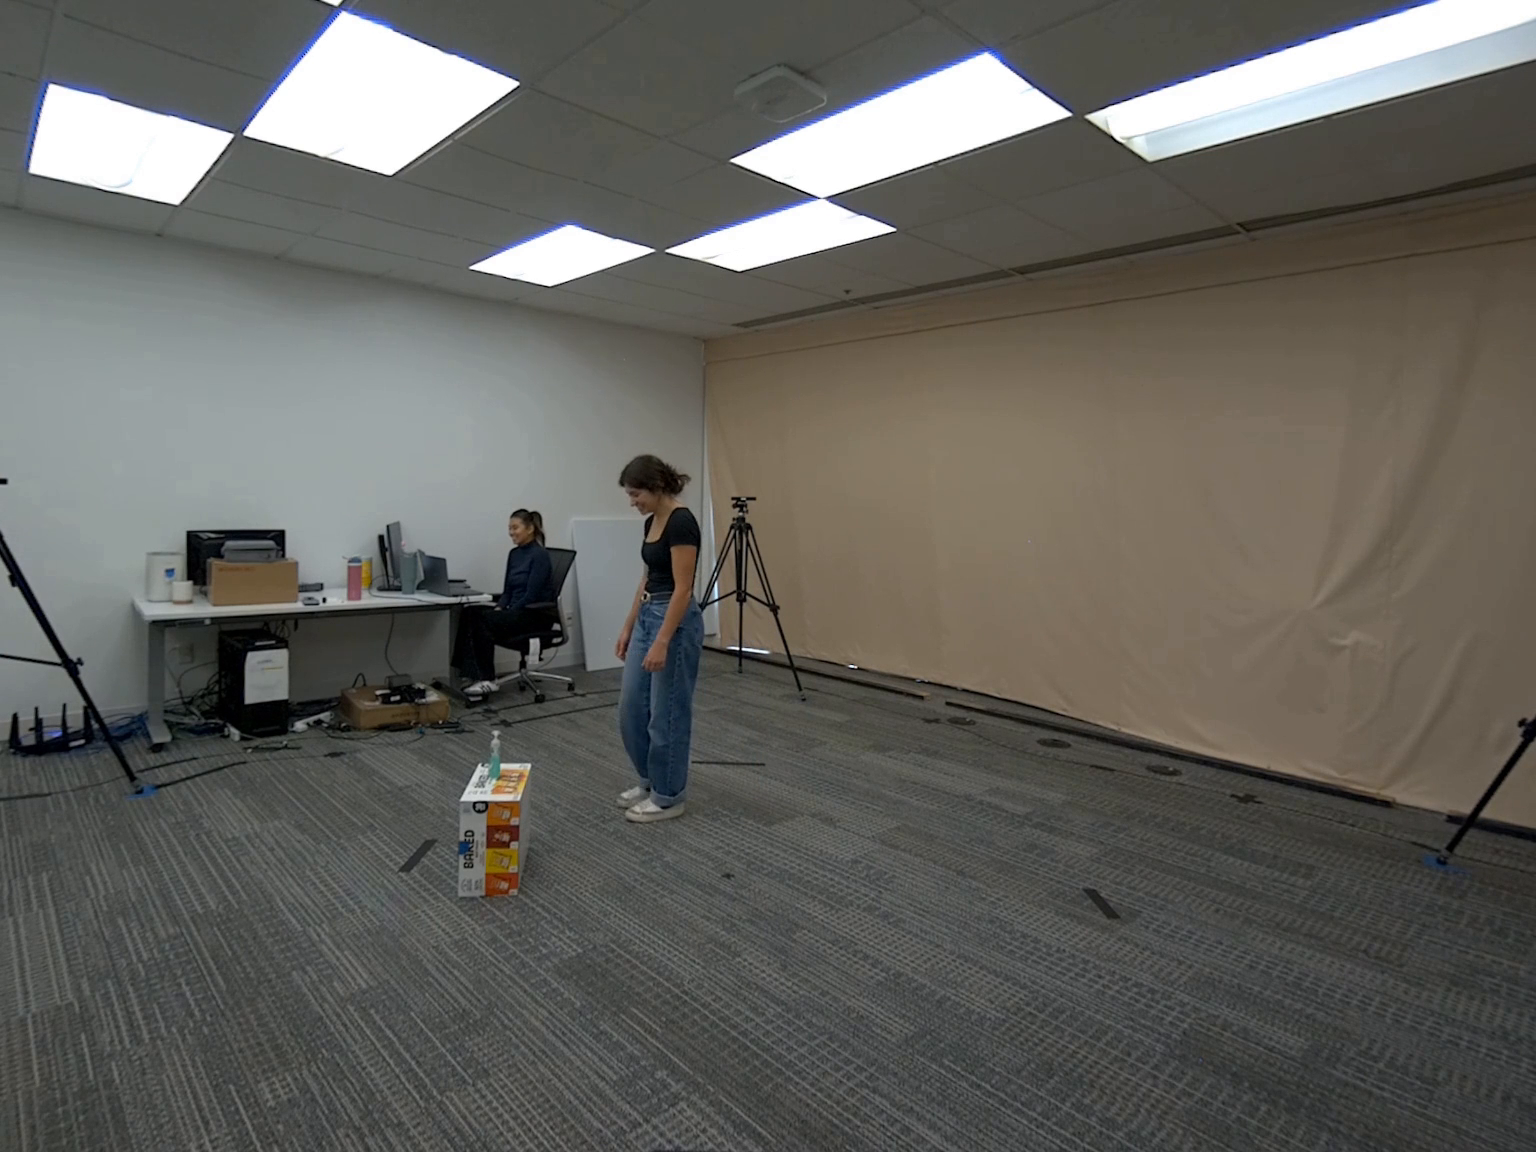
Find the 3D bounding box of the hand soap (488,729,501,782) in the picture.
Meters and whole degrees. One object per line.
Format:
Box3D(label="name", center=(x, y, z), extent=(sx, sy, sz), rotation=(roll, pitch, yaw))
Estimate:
Box3D(label="hand soap", center=(-1.027, 0.663, 3.133), extent=(0.042, 0.168, 0.086), rotation=(3, 3, -23))
